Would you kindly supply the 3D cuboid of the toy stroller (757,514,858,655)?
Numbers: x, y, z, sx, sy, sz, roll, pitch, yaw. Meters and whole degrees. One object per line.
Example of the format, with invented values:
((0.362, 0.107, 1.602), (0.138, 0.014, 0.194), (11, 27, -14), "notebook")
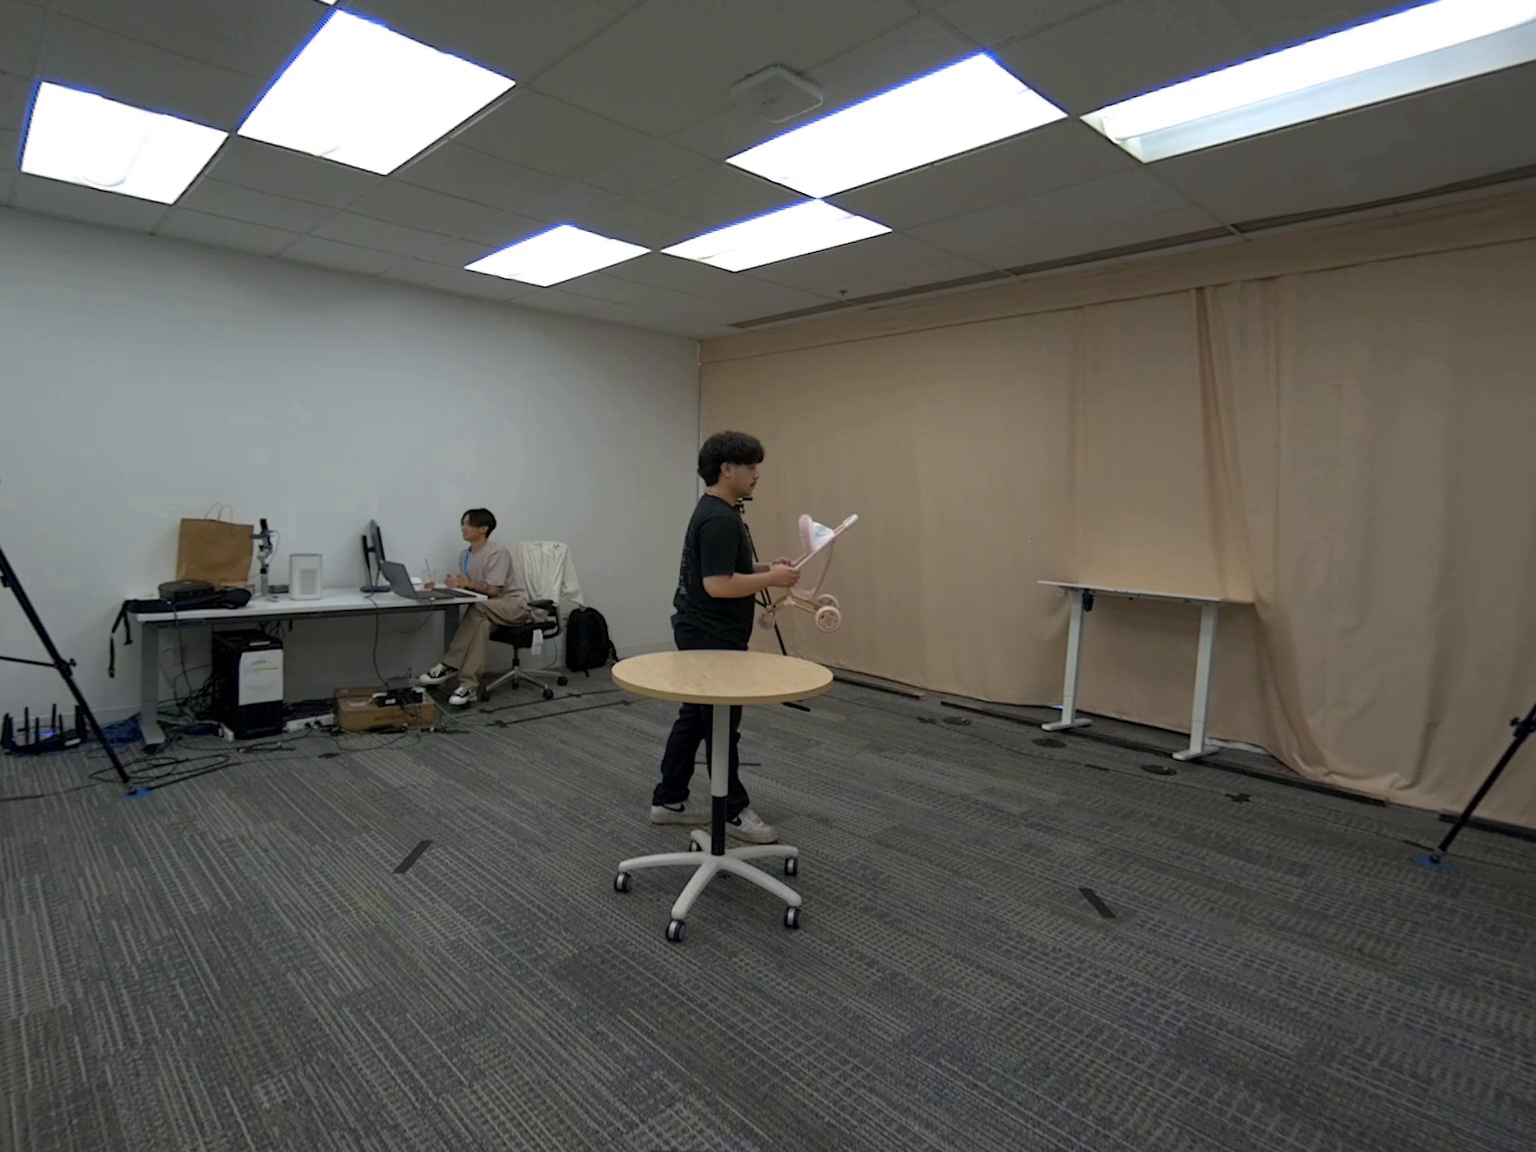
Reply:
((0.152, -0.013, 3.501), (0.344, 0.532, 0.281), (10, 10, 8), "toy stroller")
